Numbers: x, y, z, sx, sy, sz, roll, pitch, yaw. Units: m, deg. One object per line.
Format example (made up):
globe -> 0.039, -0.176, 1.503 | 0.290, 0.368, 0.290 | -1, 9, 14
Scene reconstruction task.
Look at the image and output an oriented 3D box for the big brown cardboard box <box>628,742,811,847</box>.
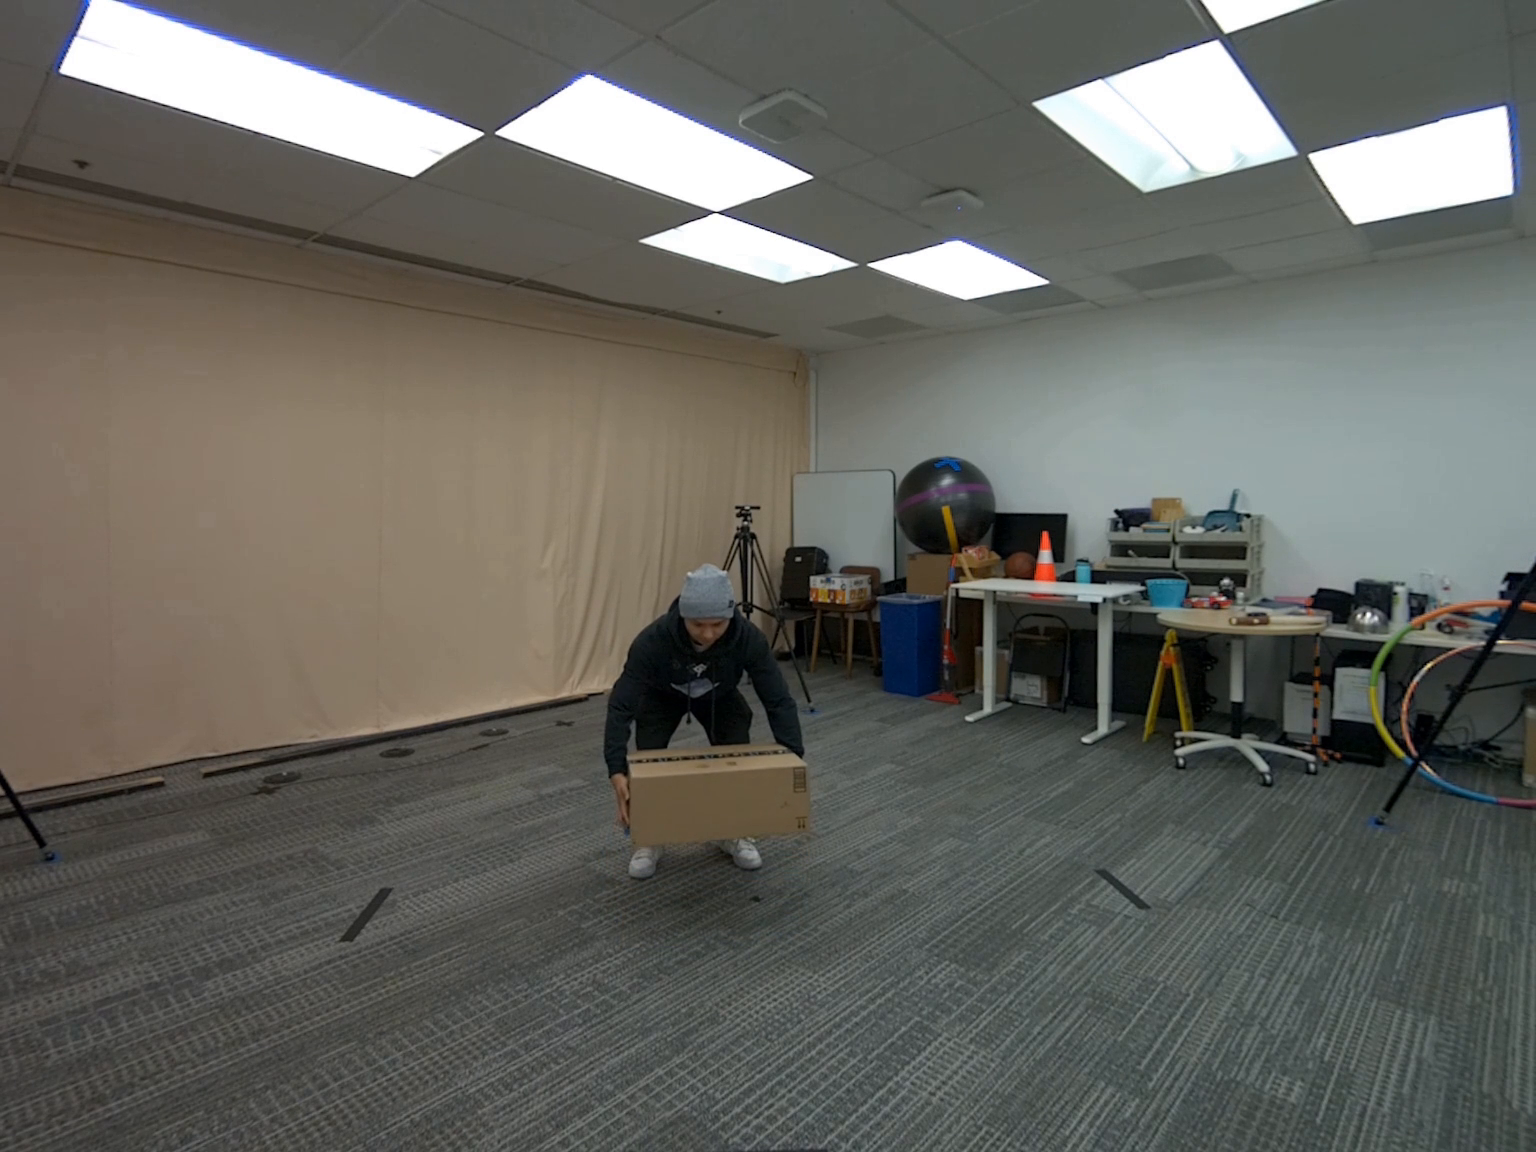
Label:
big brown cardboard box -> -0.186, 0.719, 2.828 | 0.584, 0.233, 0.420 | -3, -1, -8
